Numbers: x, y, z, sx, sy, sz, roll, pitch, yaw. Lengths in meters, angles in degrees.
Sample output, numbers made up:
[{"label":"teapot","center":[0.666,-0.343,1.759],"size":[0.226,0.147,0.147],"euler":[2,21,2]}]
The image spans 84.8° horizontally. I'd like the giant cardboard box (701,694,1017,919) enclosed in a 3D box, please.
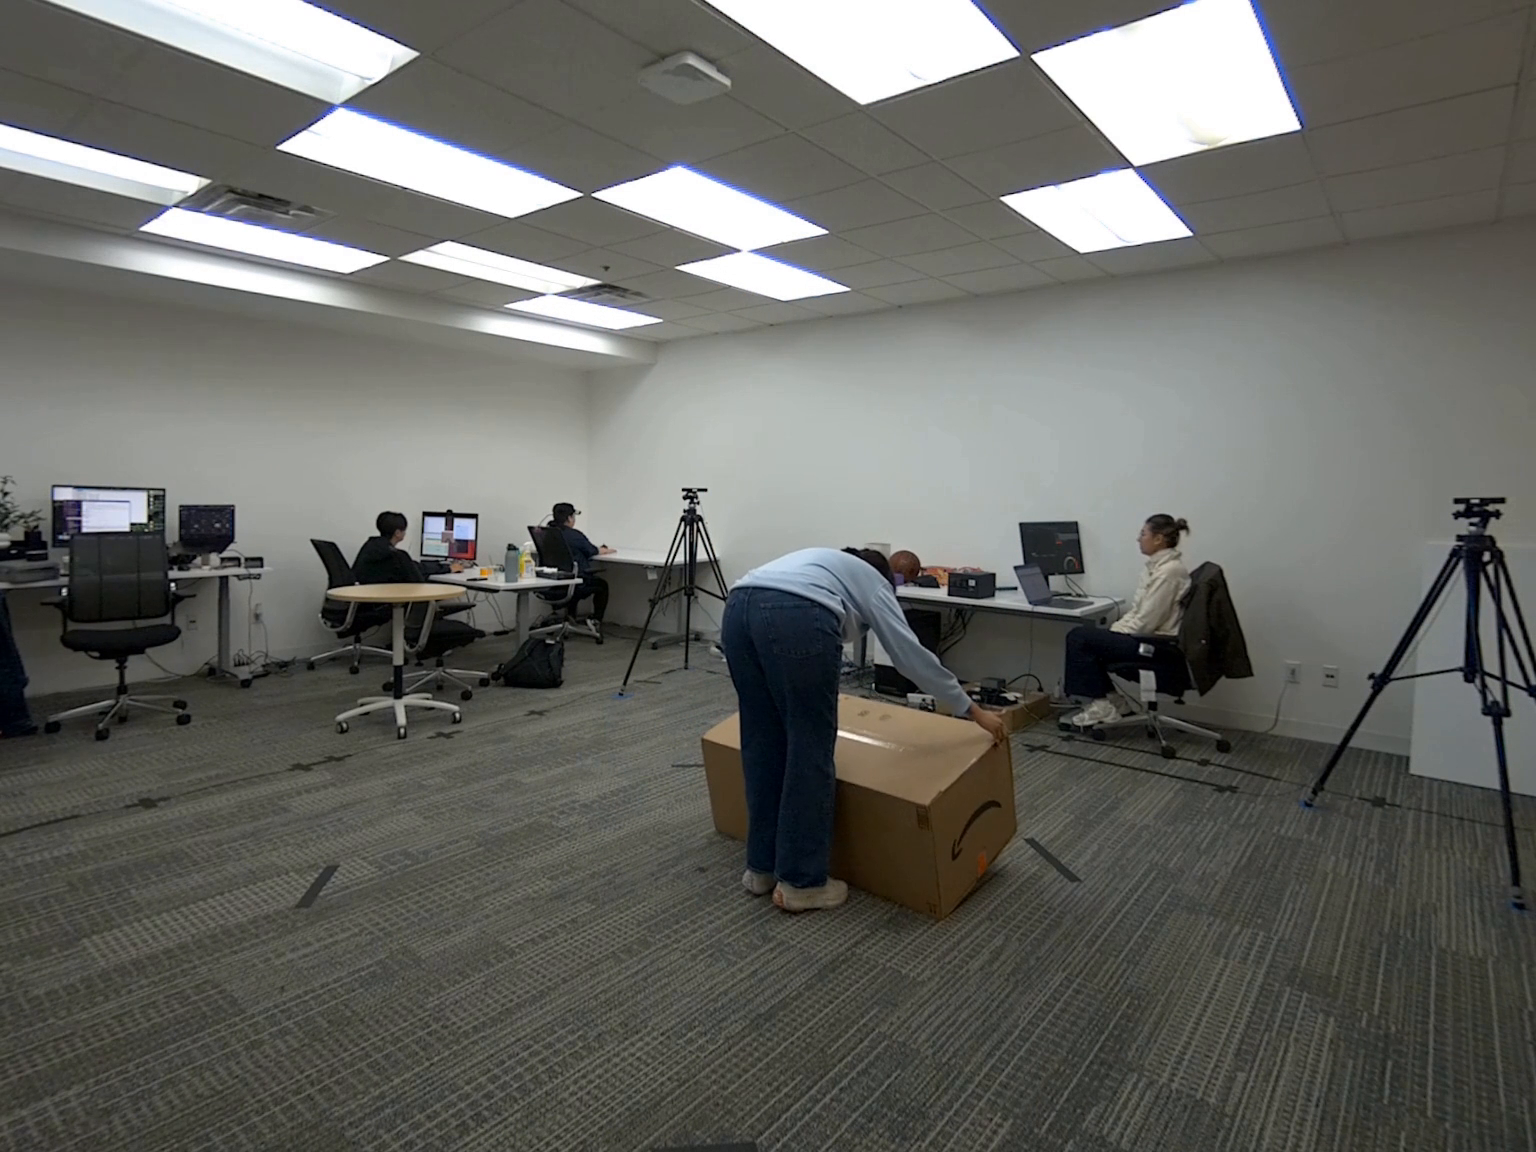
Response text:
[{"label":"giant cardboard box","center":[0.323,0.794,3.265],"size":[1.061,0.420,0.567],"euler":[6,20,42]}]
